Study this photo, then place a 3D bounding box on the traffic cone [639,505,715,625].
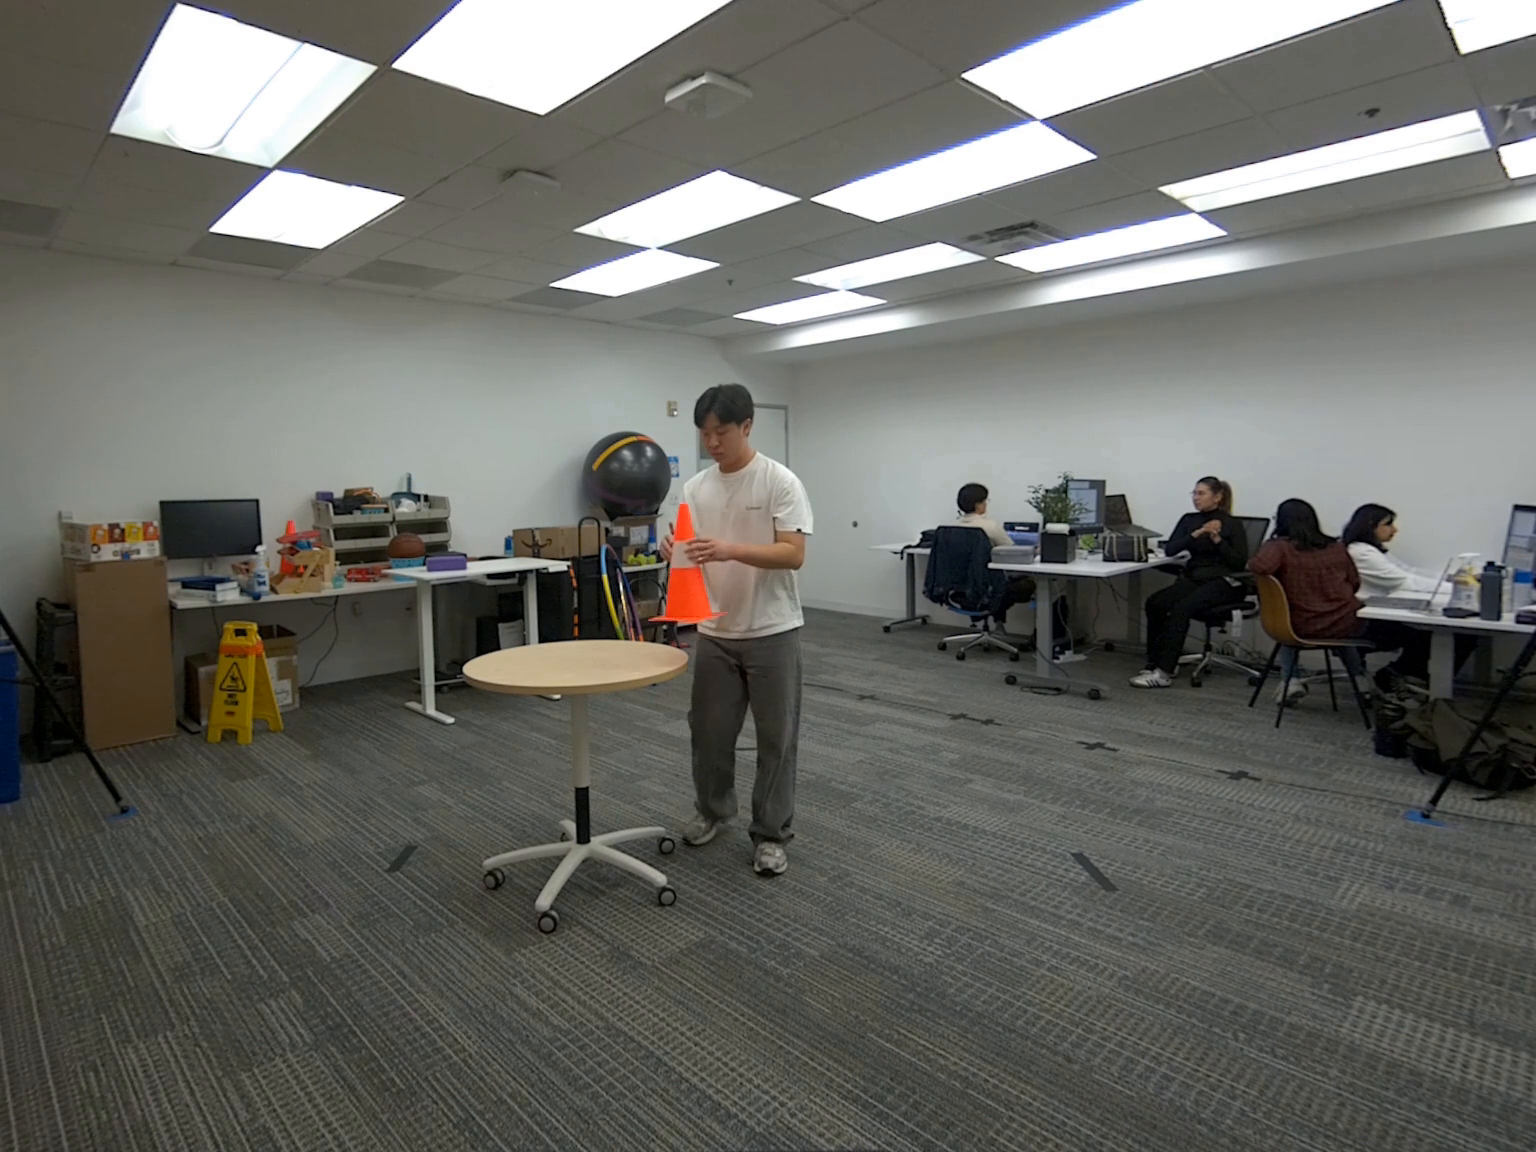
[{"bbox_3d":[-0.284,-0.039,2.871,0.209,0.384,0.198,-4,-2,26],"label":"traffic cone"}]
